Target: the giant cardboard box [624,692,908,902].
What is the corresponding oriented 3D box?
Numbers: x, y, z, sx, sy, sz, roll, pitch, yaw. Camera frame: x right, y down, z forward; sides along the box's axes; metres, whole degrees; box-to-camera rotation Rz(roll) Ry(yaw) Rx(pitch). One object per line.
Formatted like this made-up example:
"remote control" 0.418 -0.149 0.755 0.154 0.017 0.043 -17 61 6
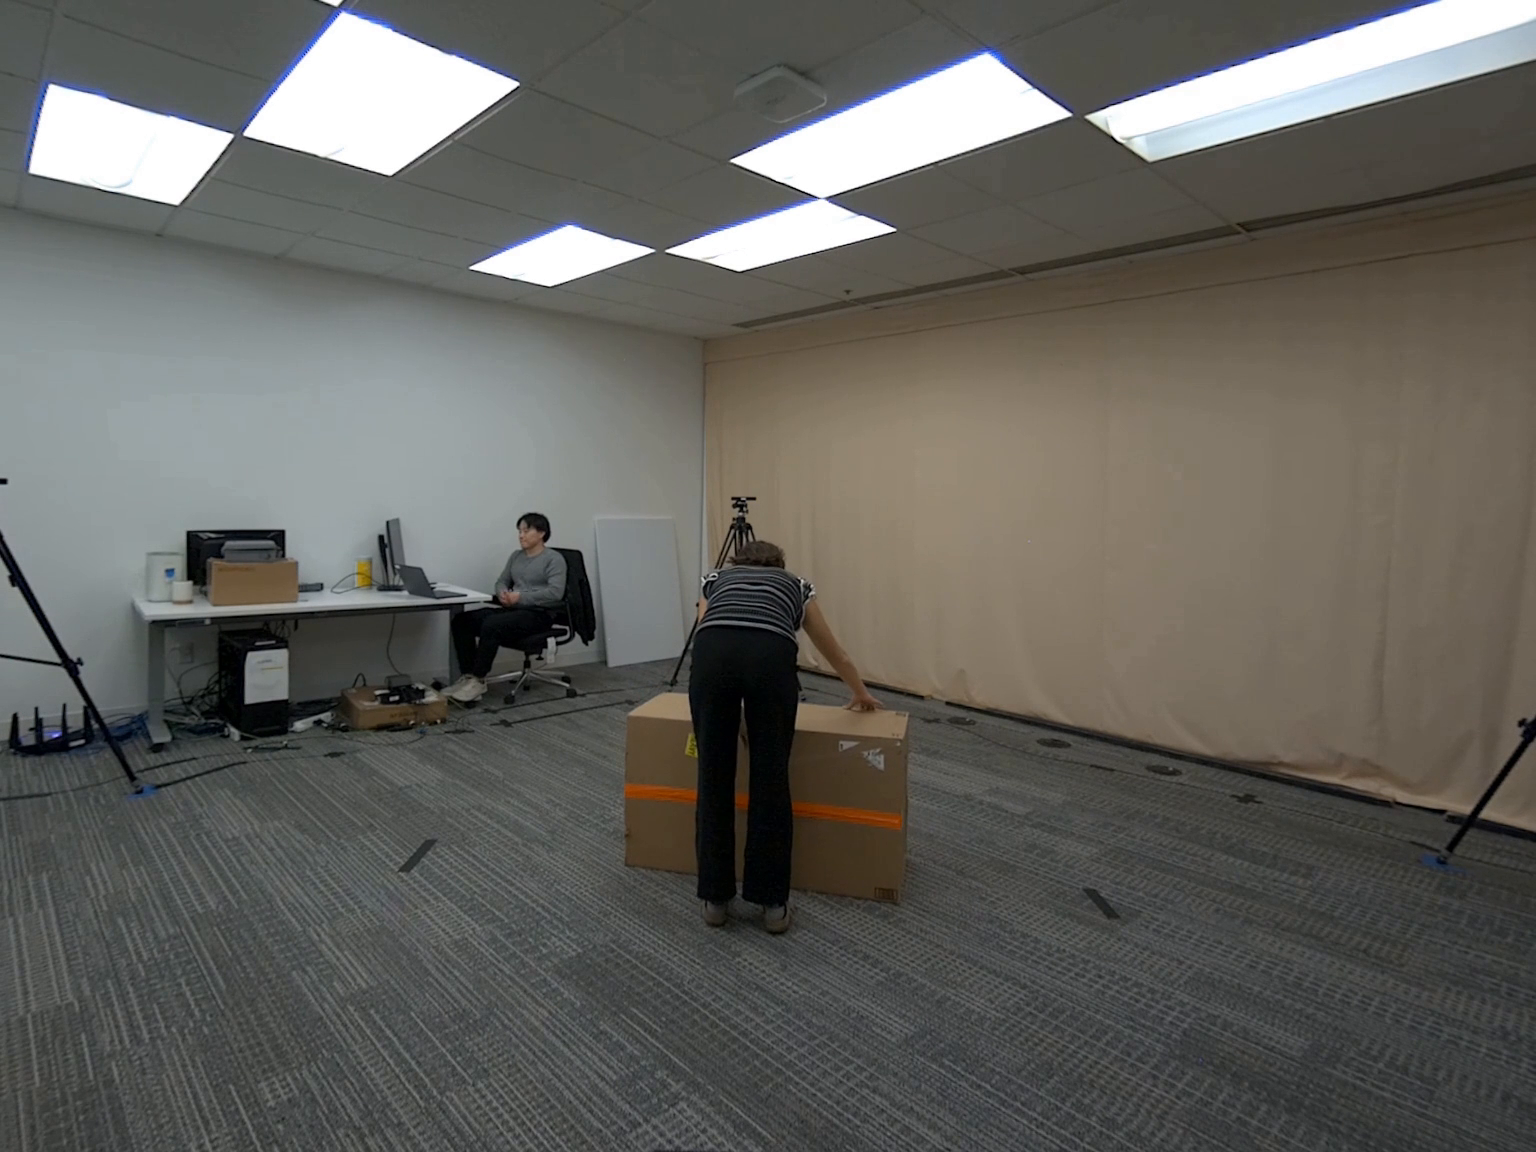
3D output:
"giant cardboard box" 0.000 0.804 3.235 1.038 0.576 0.422 2 4 14
